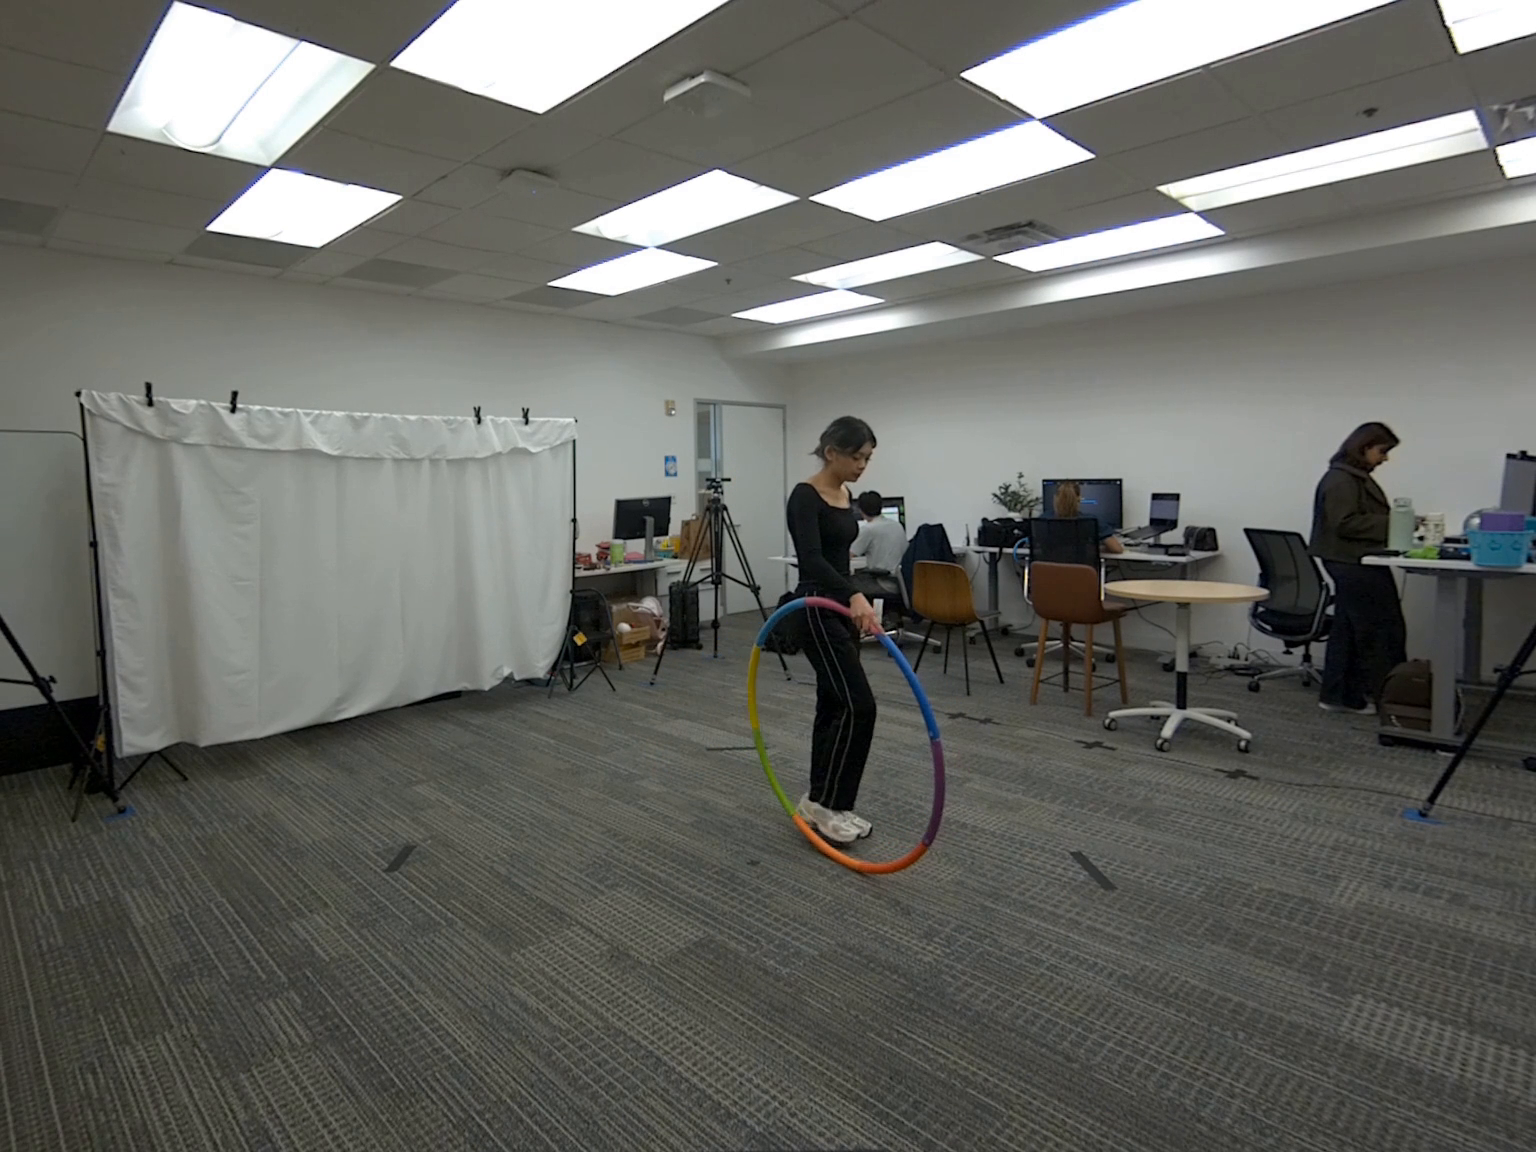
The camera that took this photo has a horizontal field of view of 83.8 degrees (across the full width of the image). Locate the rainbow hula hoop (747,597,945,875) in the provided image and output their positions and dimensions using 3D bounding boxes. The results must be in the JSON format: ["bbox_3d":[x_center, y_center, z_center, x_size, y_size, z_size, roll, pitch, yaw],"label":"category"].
[{"bbox_3d":[0.240,0.560,3.035,0.035,0.973,1.008,-8,8,-36],"label":"rainbow hula hoop"}]
